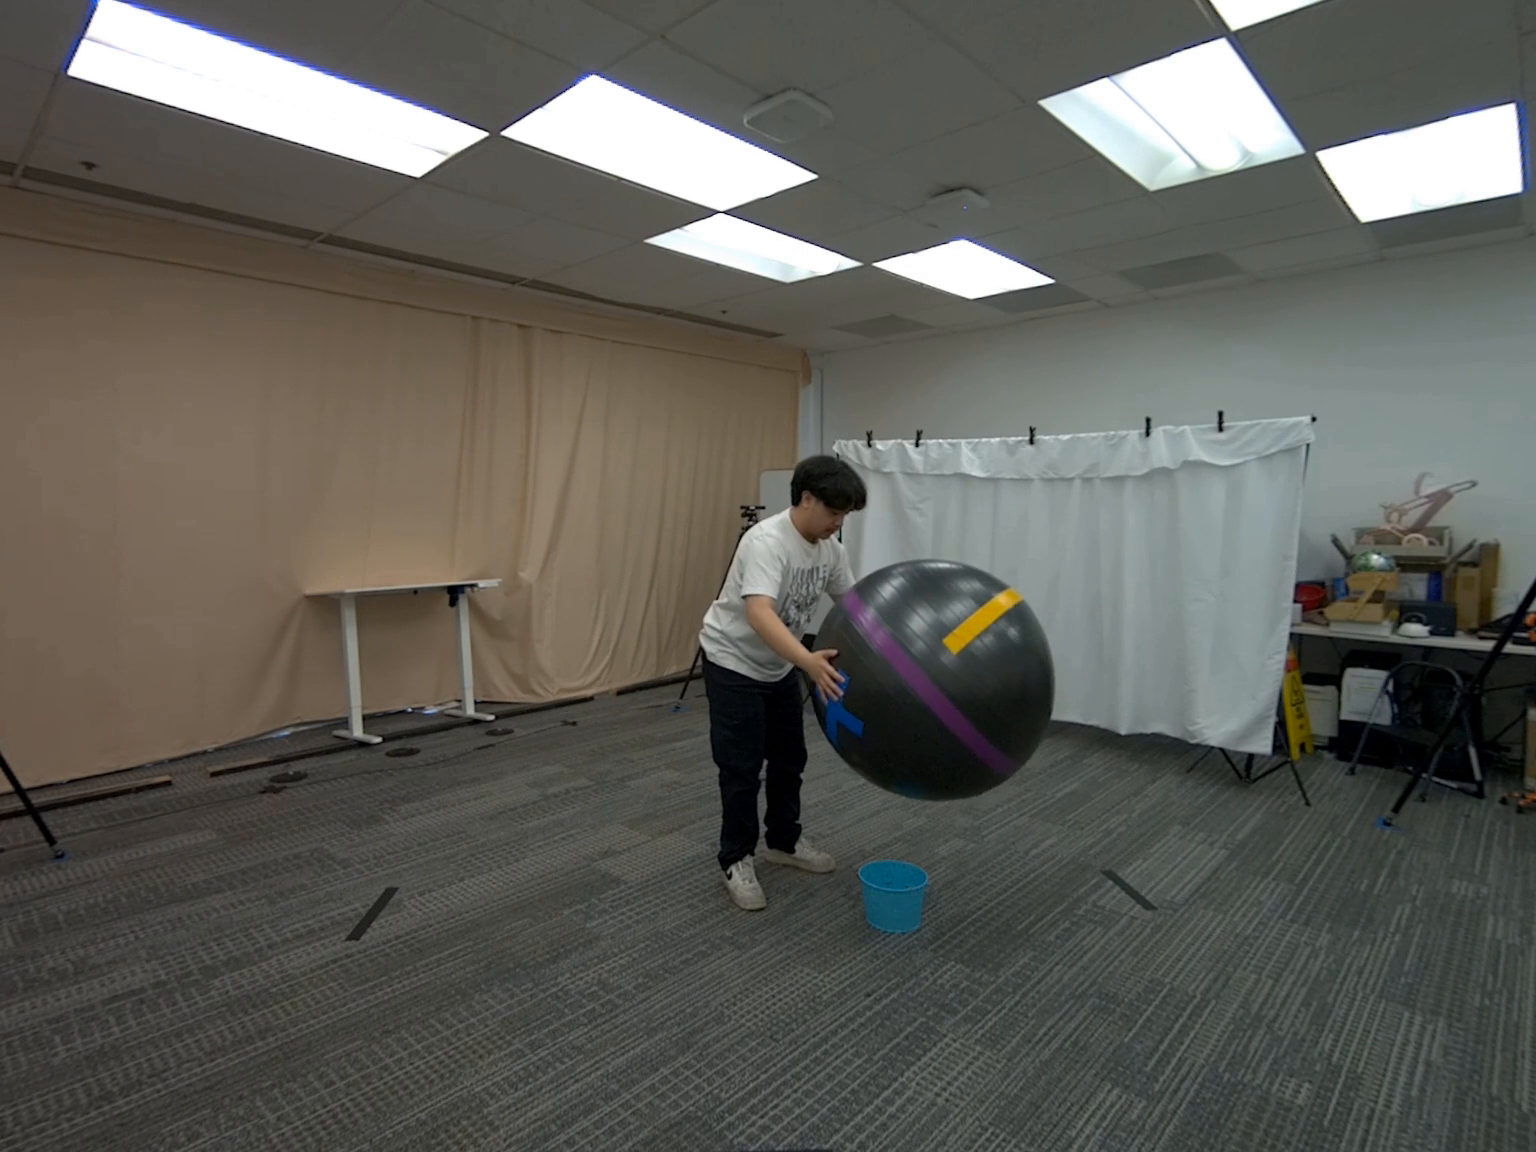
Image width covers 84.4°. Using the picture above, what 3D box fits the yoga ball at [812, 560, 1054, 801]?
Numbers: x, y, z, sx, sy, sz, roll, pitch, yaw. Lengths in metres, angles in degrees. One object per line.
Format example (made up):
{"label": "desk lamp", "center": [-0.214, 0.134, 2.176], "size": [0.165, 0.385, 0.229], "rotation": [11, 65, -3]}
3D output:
{"label": "yoga ball", "center": [0.530, 0.334, 2.678], "size": [0.757, 0.756, 0.760], "rotation": [0, 4, -2]}
